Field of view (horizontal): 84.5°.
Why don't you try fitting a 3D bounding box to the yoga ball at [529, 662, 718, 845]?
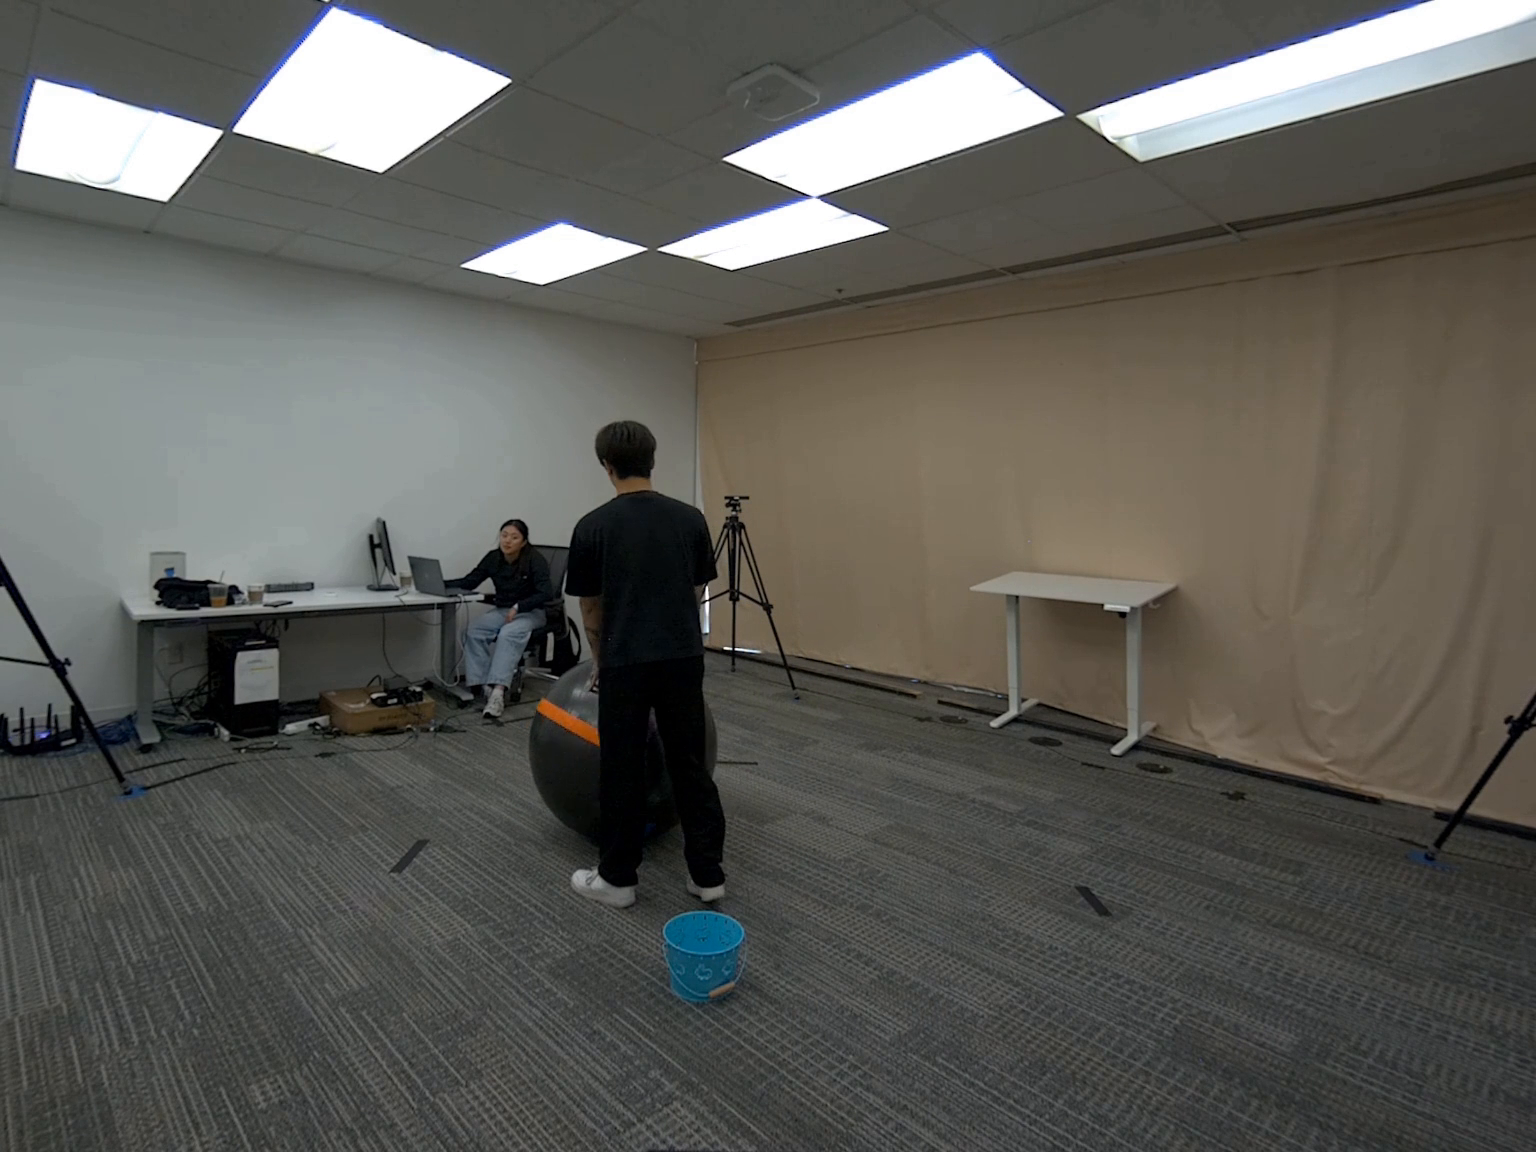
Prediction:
[{"bbox_3d":[-0.595,0.697,3.450,0.757,0.756,0.761,1,4,-1],"label":"yoga ball"}]
